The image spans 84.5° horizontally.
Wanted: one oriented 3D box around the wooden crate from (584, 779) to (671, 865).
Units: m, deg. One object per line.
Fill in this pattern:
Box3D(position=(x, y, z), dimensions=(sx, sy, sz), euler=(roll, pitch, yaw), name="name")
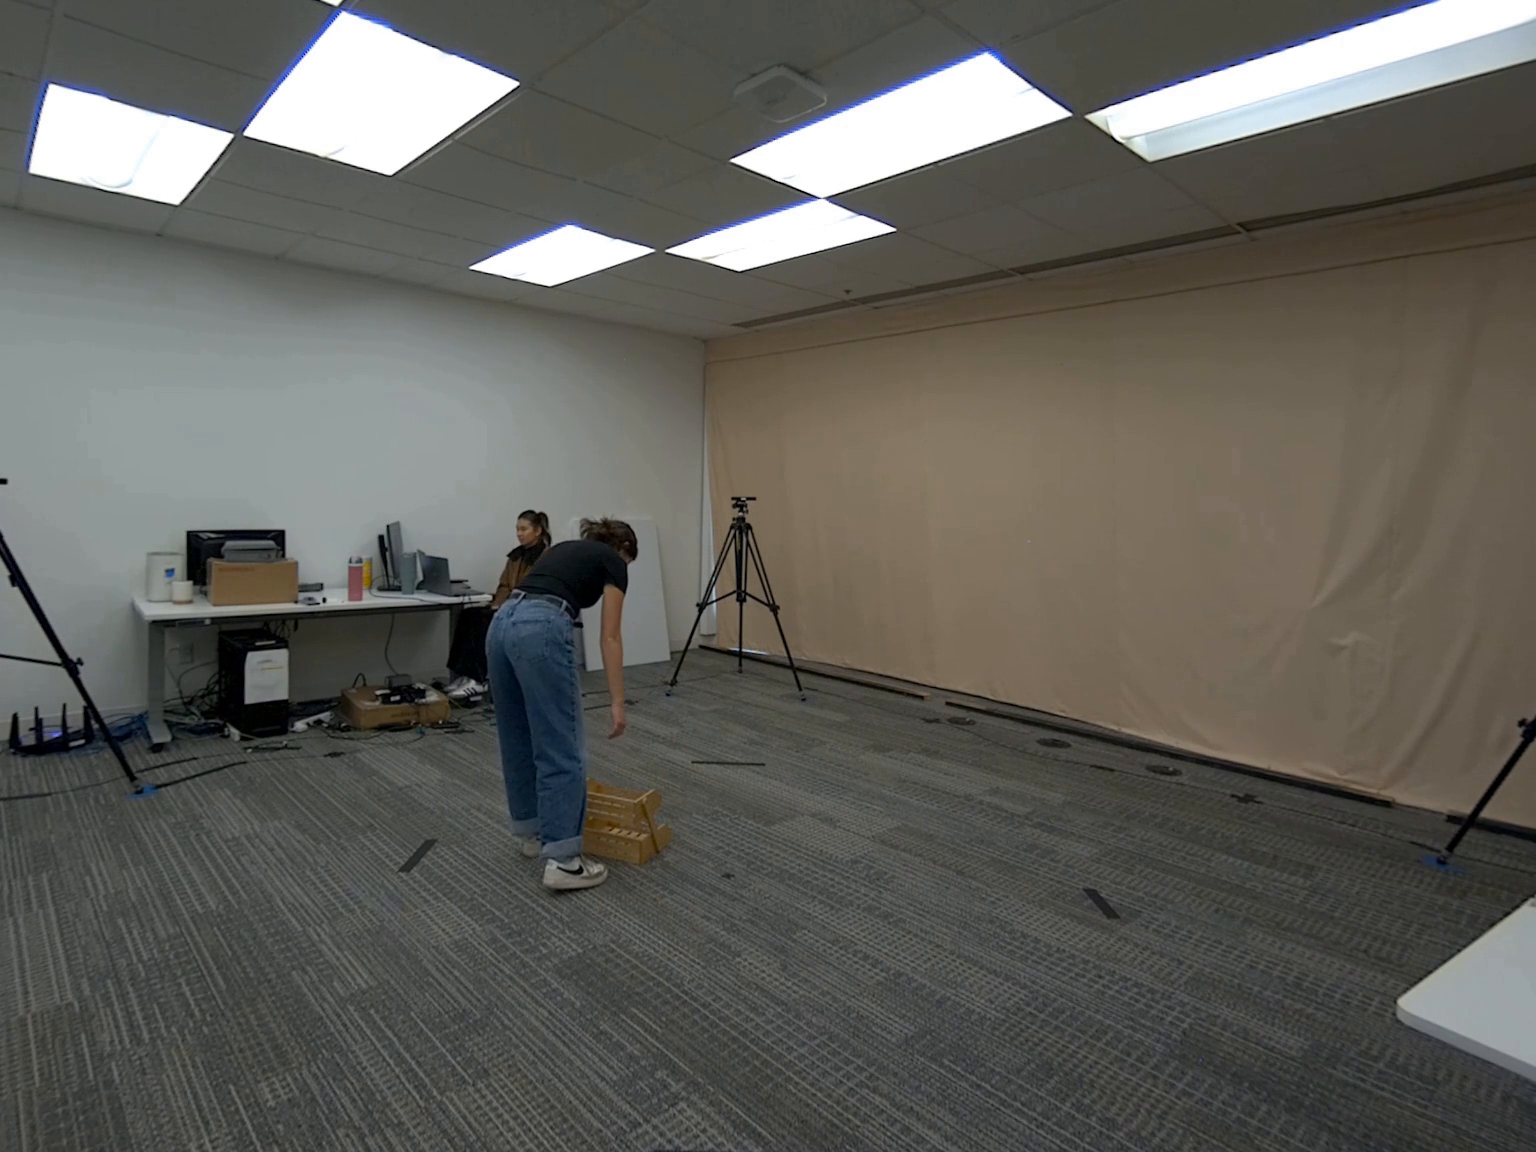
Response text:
Box3D(position=(-0.586, 0.947, 3.327), dimensions=(0.330, 0.272, 0.297), euler=(3, 5, 22), name="wooden crate")
